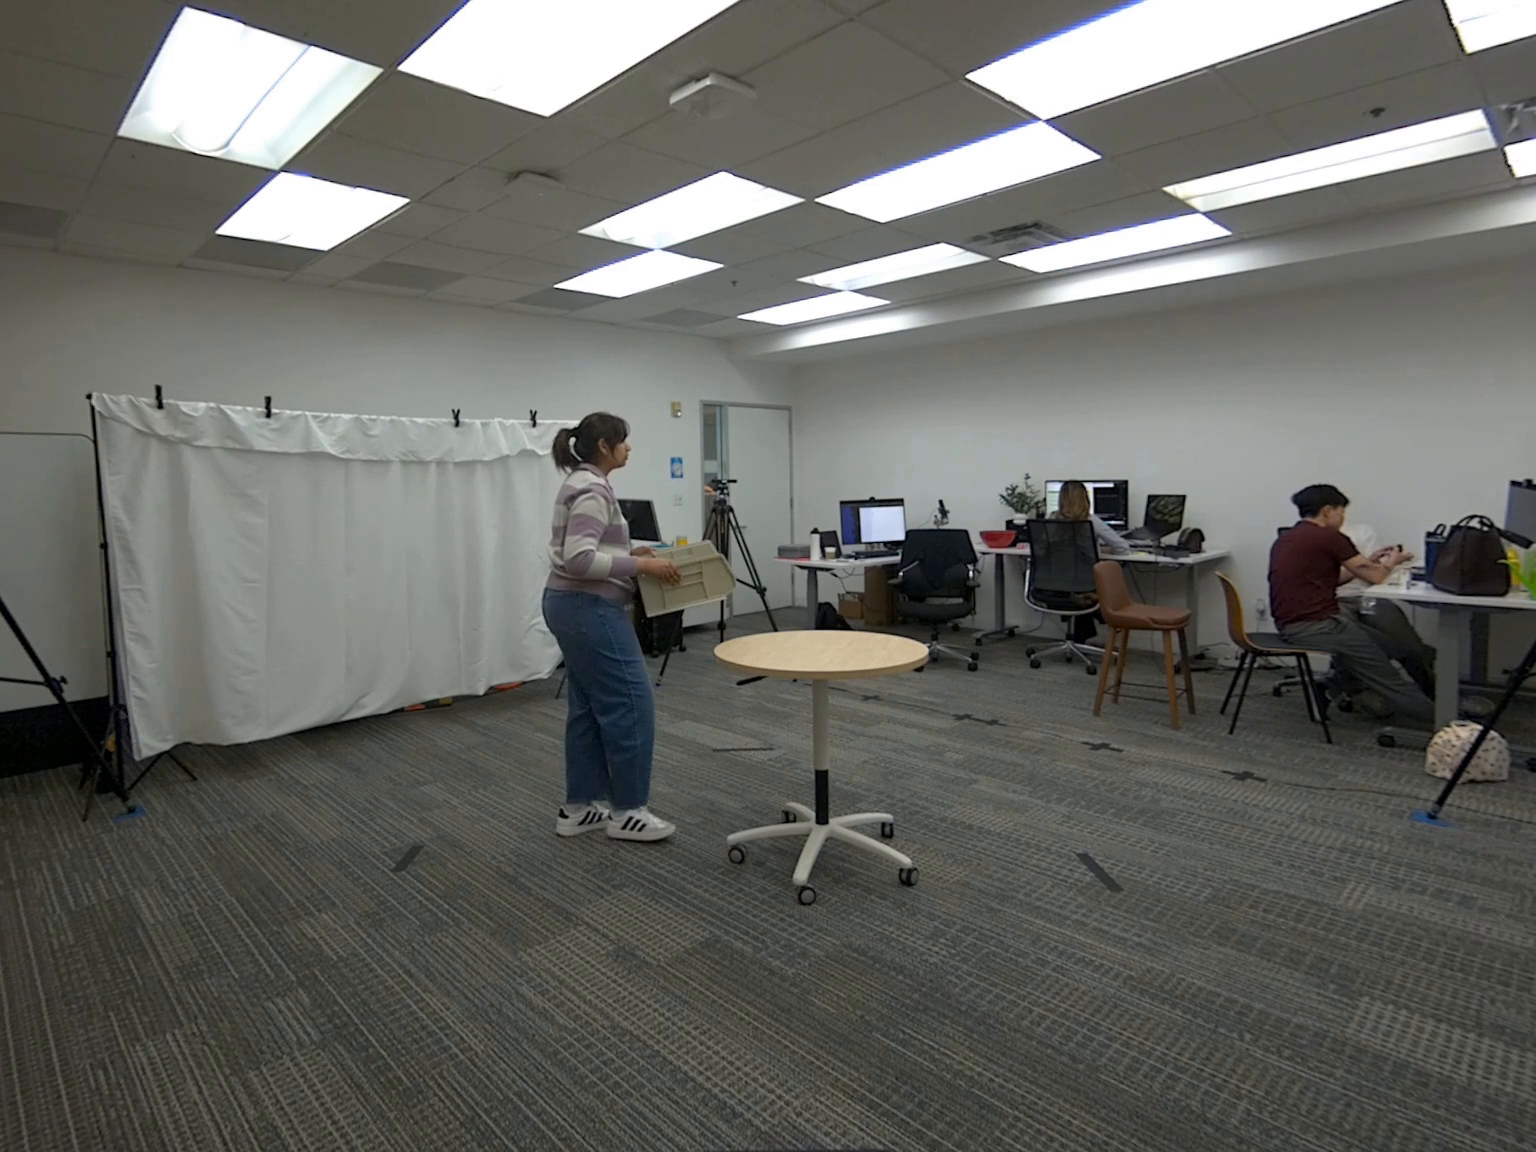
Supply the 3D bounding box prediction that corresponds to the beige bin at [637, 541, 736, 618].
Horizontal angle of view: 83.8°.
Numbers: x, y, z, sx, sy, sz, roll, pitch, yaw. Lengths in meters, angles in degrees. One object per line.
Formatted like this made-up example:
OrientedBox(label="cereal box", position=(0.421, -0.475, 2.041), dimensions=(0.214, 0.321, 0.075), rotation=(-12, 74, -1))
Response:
OrientedBox(label="beige bin", position=(-0.336, 0.005, 3.450), dimensions=(0.375, 0.187, 0.430), rotation=(-13, 12, -8))
